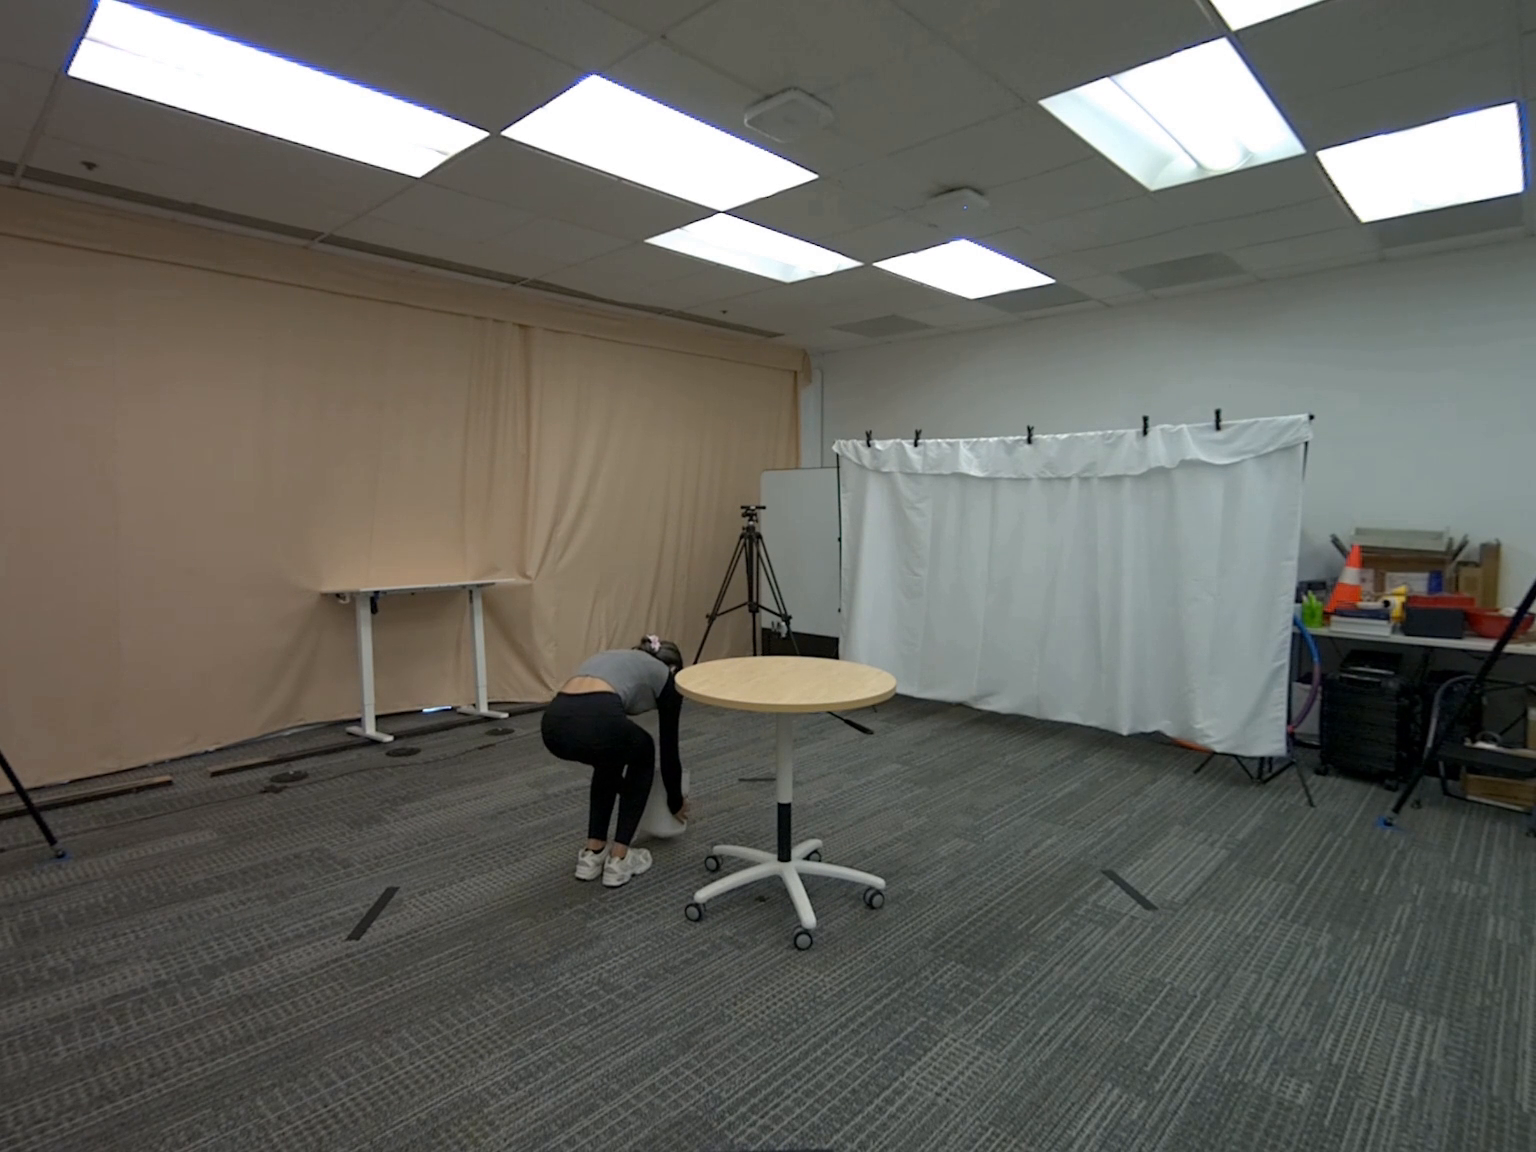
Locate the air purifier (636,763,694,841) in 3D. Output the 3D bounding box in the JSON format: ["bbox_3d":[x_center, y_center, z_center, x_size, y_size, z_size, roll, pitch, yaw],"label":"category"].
[{"bbox_3d":[-0.437,0.926,3.505,0.176,0.266,0.166,0,-7,33],"label":"air purifier"}]
